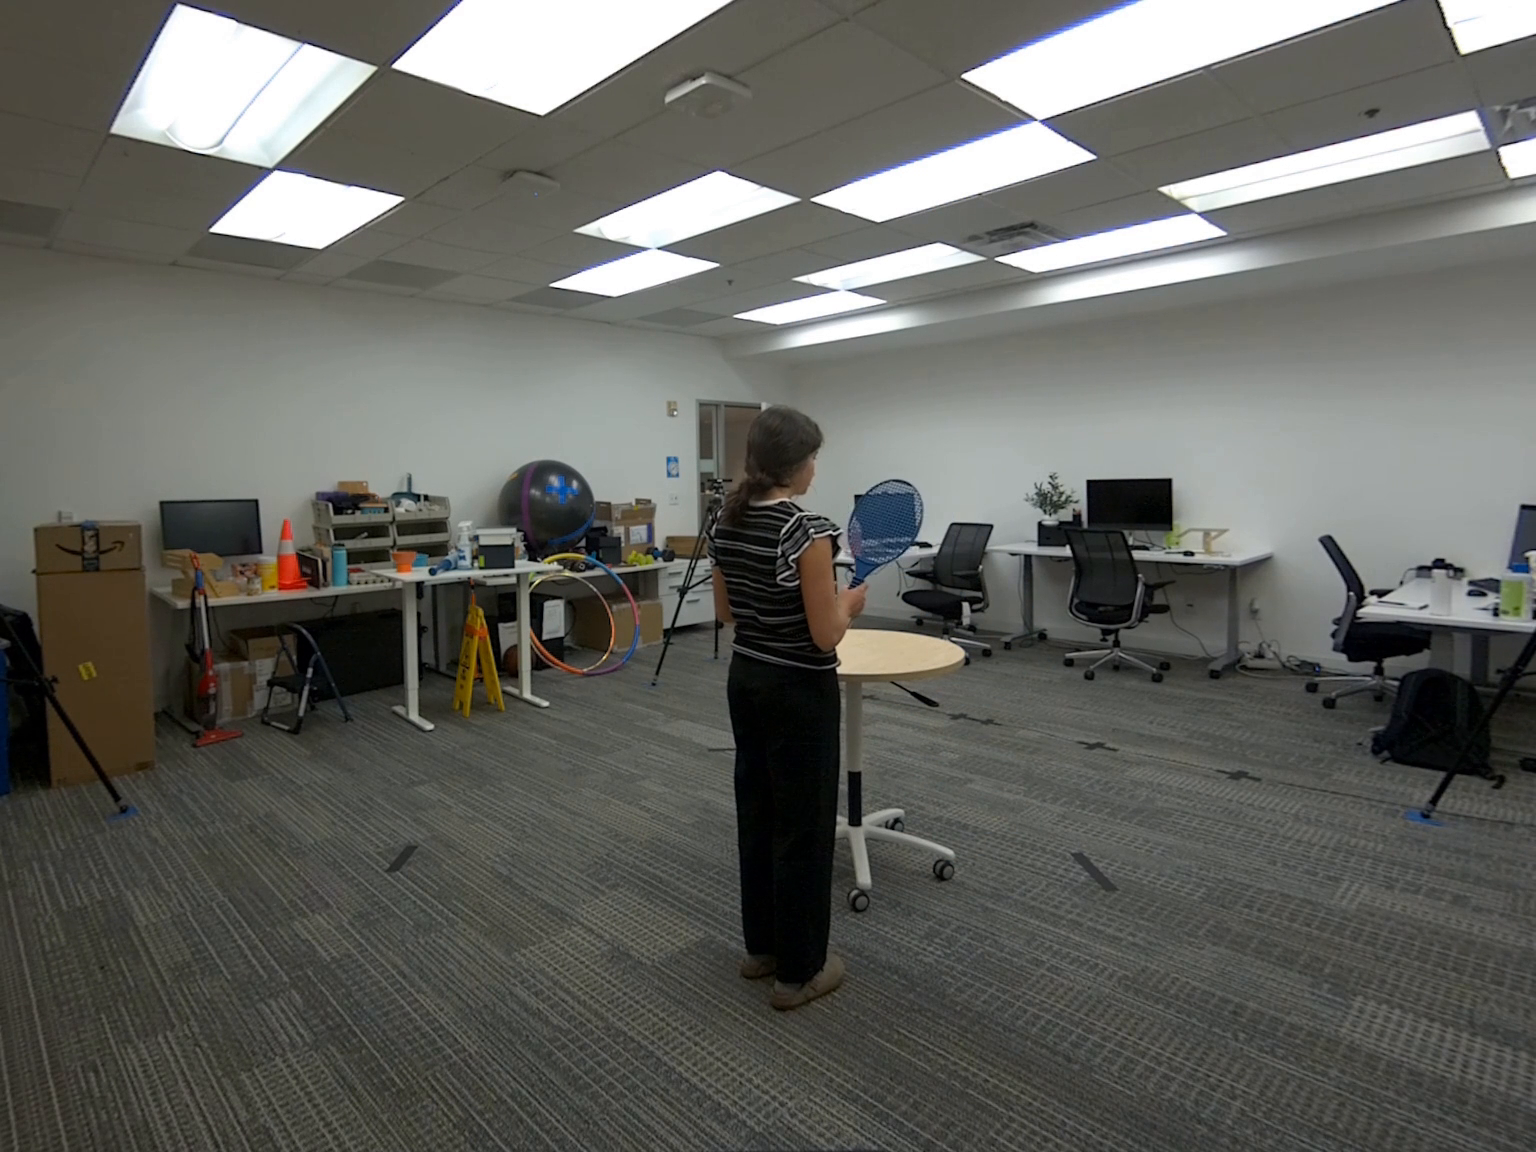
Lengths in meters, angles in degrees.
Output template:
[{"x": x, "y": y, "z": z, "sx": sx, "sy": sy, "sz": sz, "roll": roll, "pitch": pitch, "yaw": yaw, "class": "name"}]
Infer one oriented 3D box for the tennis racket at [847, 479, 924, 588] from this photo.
[{"x": 0.293, "y": -0.081, "z": 2.438, "sx": 0.221, "sy": 0.434, "sz": 0.030, "roll": 23, "pitch": -10, "yaw": 30, "class": "tennis racket"}]
